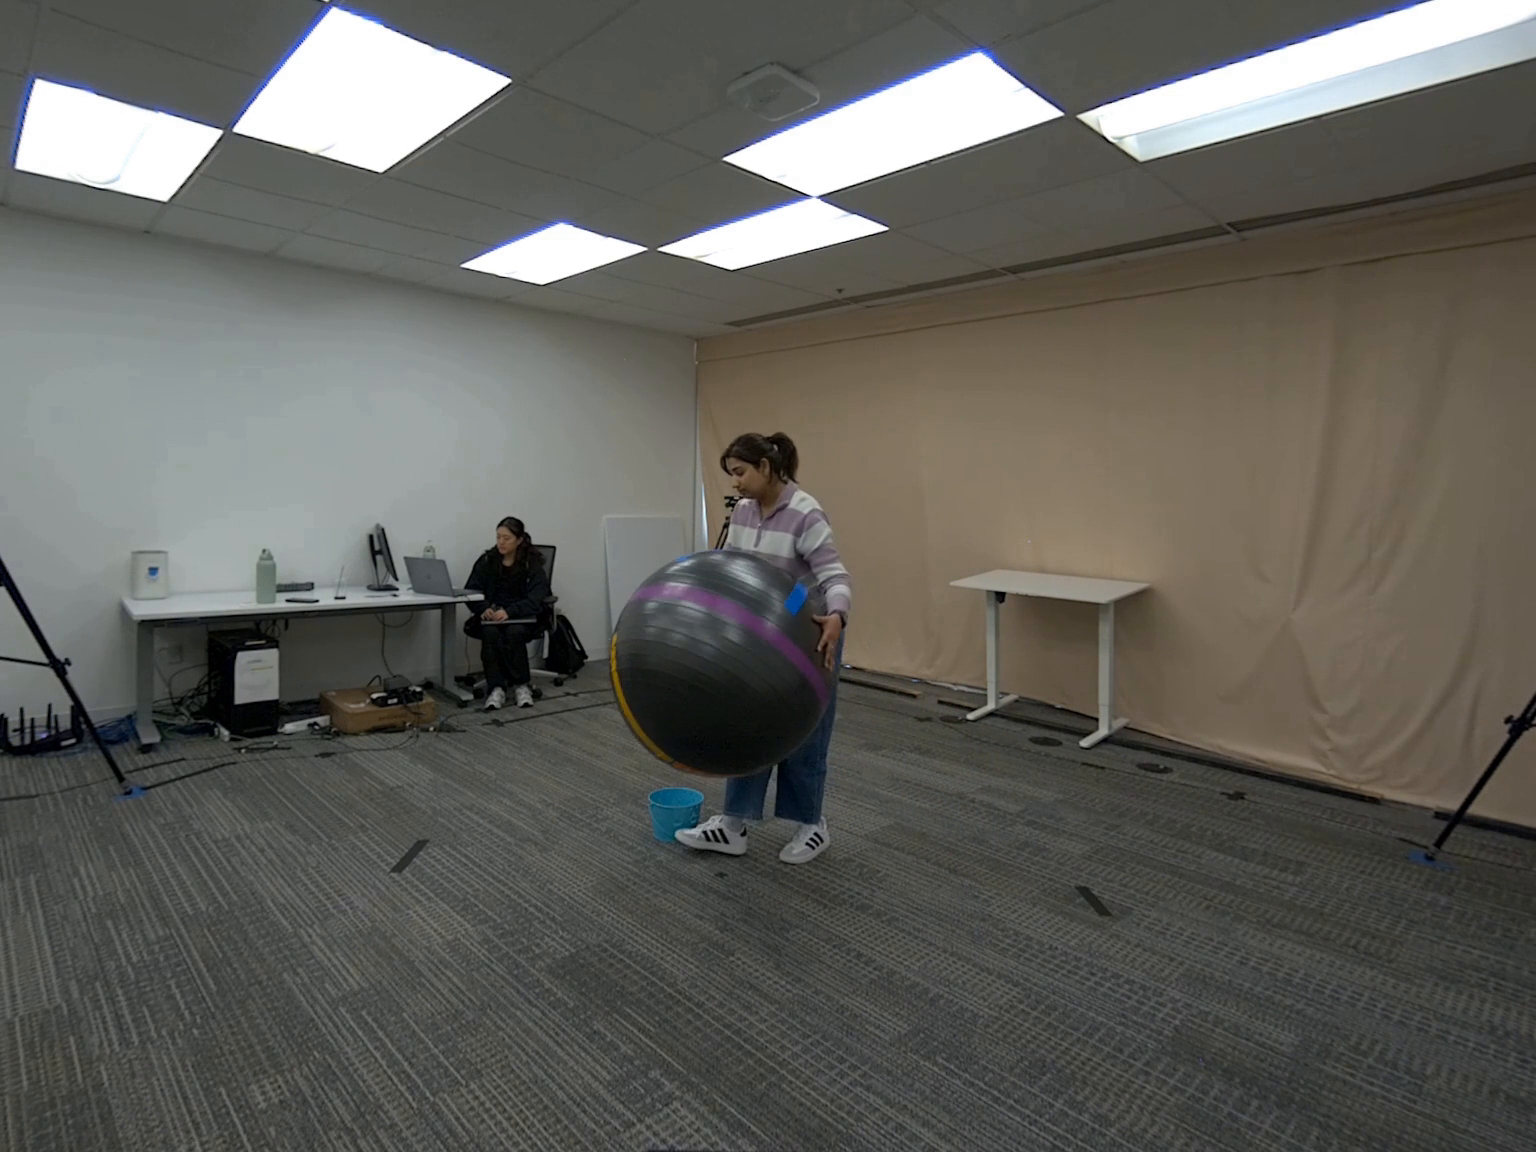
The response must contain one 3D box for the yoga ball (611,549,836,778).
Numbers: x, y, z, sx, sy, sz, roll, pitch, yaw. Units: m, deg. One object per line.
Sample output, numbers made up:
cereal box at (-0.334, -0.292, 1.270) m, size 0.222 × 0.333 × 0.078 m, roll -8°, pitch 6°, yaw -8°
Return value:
yoga ball at (-0.172, 0.303, 2.853) m, size 0.757 × 0.756 × 0.761 m, roll 1°, pitch 4°, yaw -1°
